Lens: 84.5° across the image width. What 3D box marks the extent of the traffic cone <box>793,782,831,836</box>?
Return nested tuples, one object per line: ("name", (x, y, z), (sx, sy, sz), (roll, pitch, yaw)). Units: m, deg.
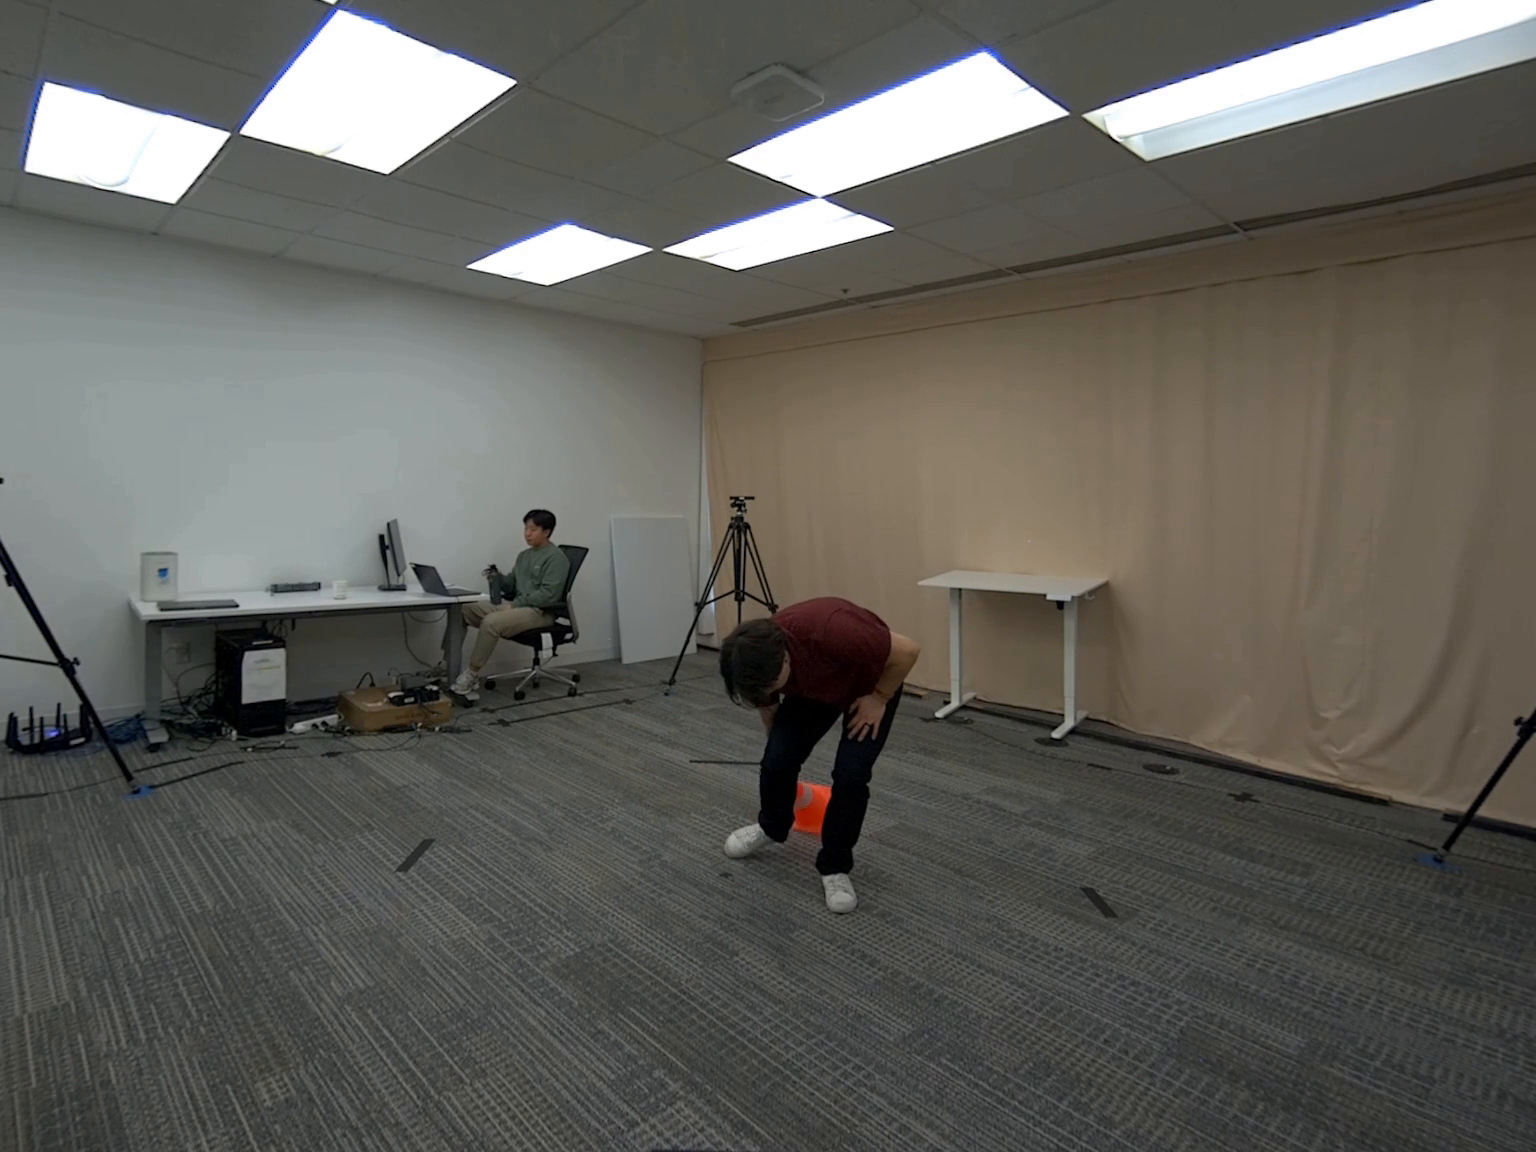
("traffic cone", (0.115, 0.891, 3.408), (0.208, 0.206, 0.373), (5, -29, 17))
